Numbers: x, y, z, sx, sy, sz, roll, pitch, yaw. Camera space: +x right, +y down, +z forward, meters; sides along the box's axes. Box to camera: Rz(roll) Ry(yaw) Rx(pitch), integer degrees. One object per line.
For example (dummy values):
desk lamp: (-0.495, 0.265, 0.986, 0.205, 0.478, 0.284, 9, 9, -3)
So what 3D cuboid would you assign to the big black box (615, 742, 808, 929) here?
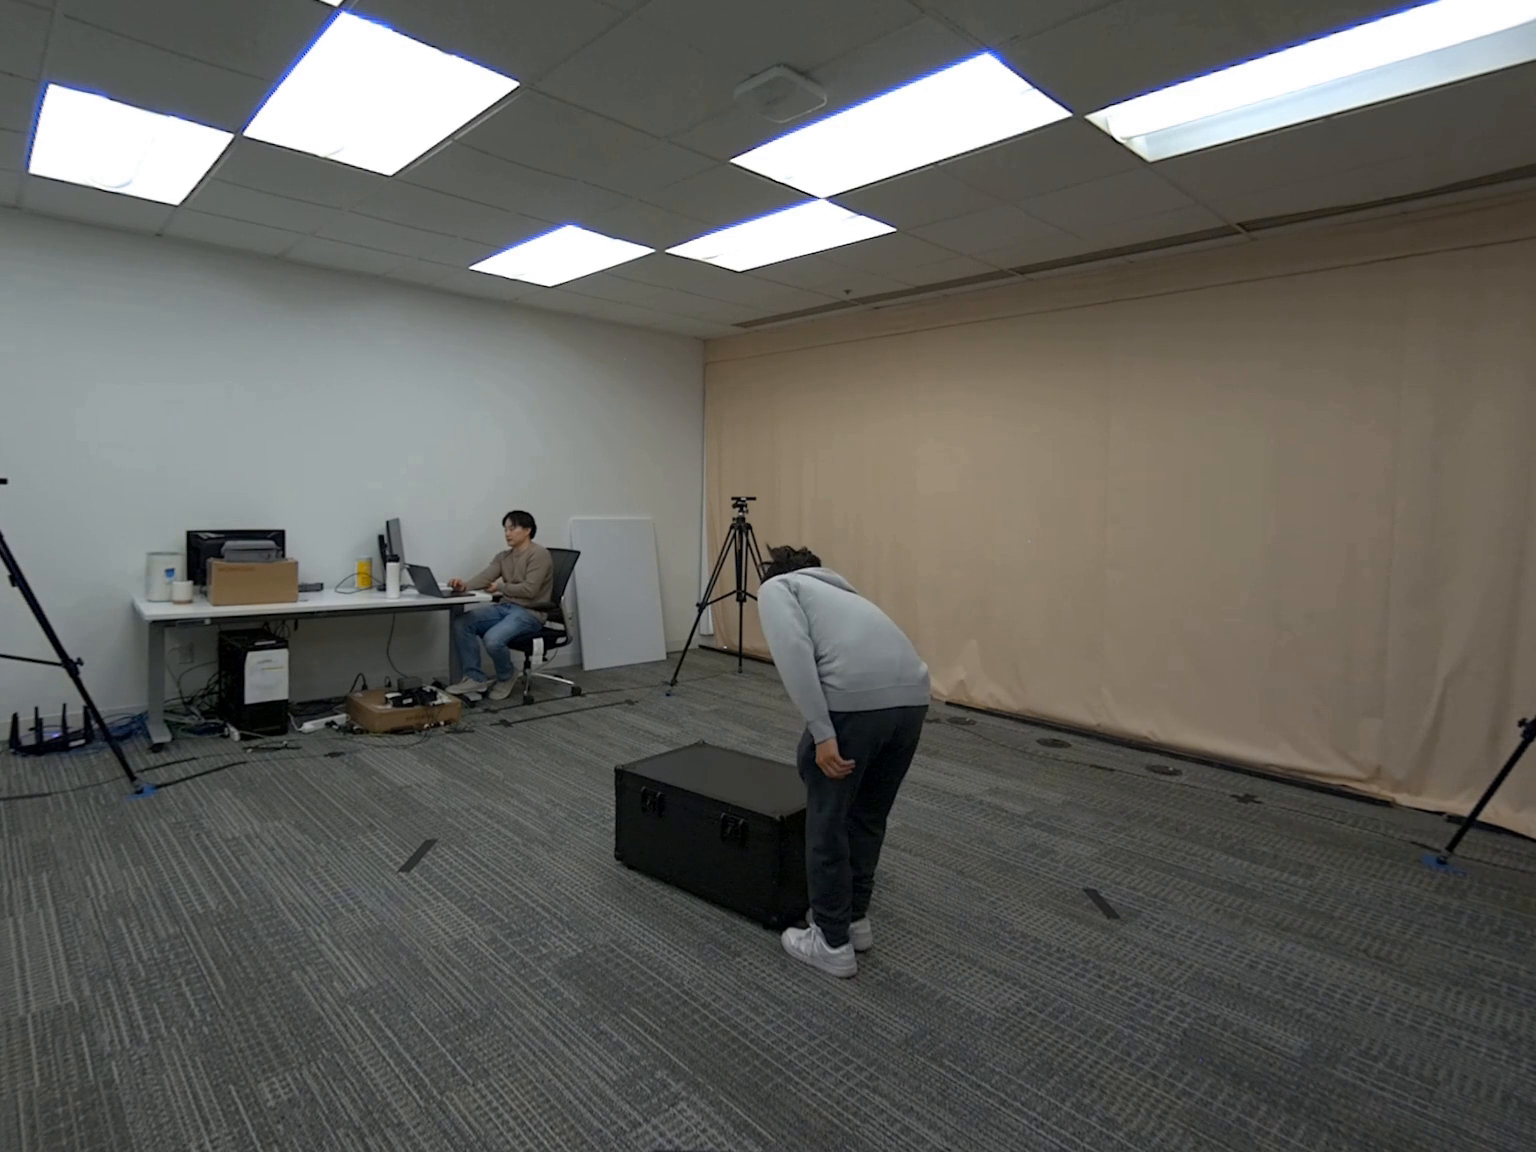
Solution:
big black box: (-0.108, 0.920, 3.081, 0.883, 0.395, 0.510, 4, 6, 38)
